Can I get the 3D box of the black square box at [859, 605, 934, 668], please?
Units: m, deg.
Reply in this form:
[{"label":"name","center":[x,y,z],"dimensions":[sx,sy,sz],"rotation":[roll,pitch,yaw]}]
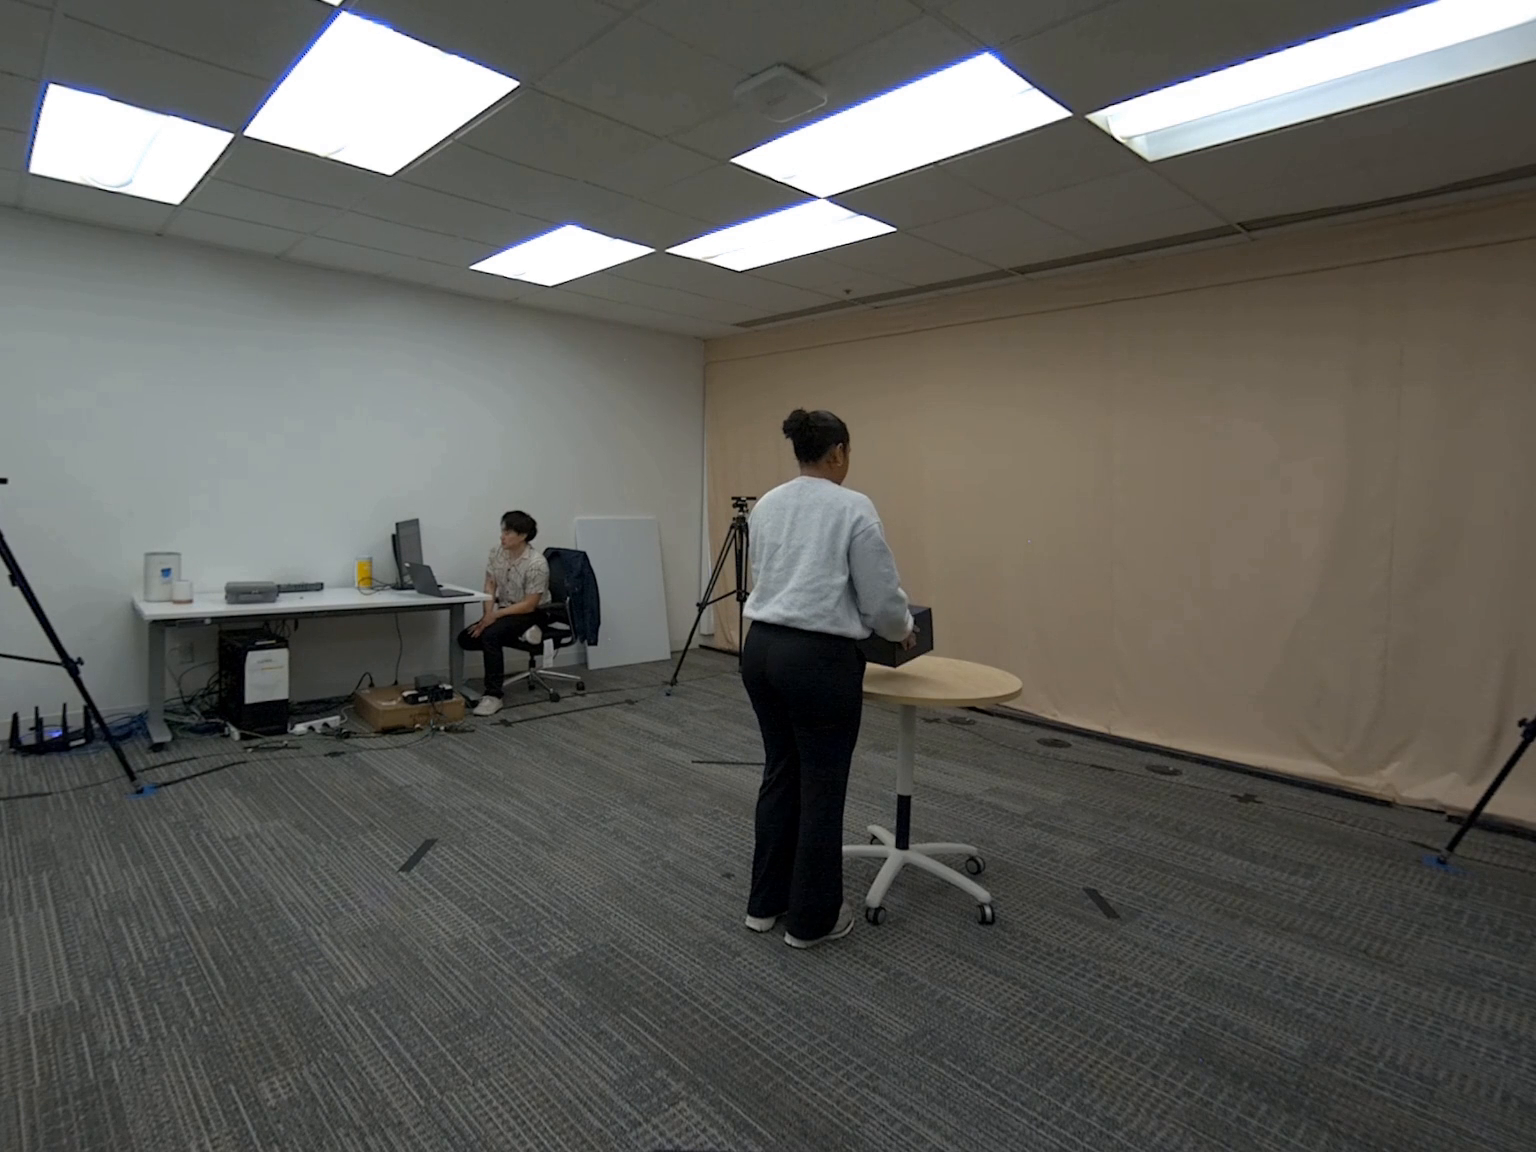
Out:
[{"label":"black square box","center":[0.412,0.195,2.927],"dimensions":[0.224,0.154,0.222],"rotation":[-16,15,-43]}]
